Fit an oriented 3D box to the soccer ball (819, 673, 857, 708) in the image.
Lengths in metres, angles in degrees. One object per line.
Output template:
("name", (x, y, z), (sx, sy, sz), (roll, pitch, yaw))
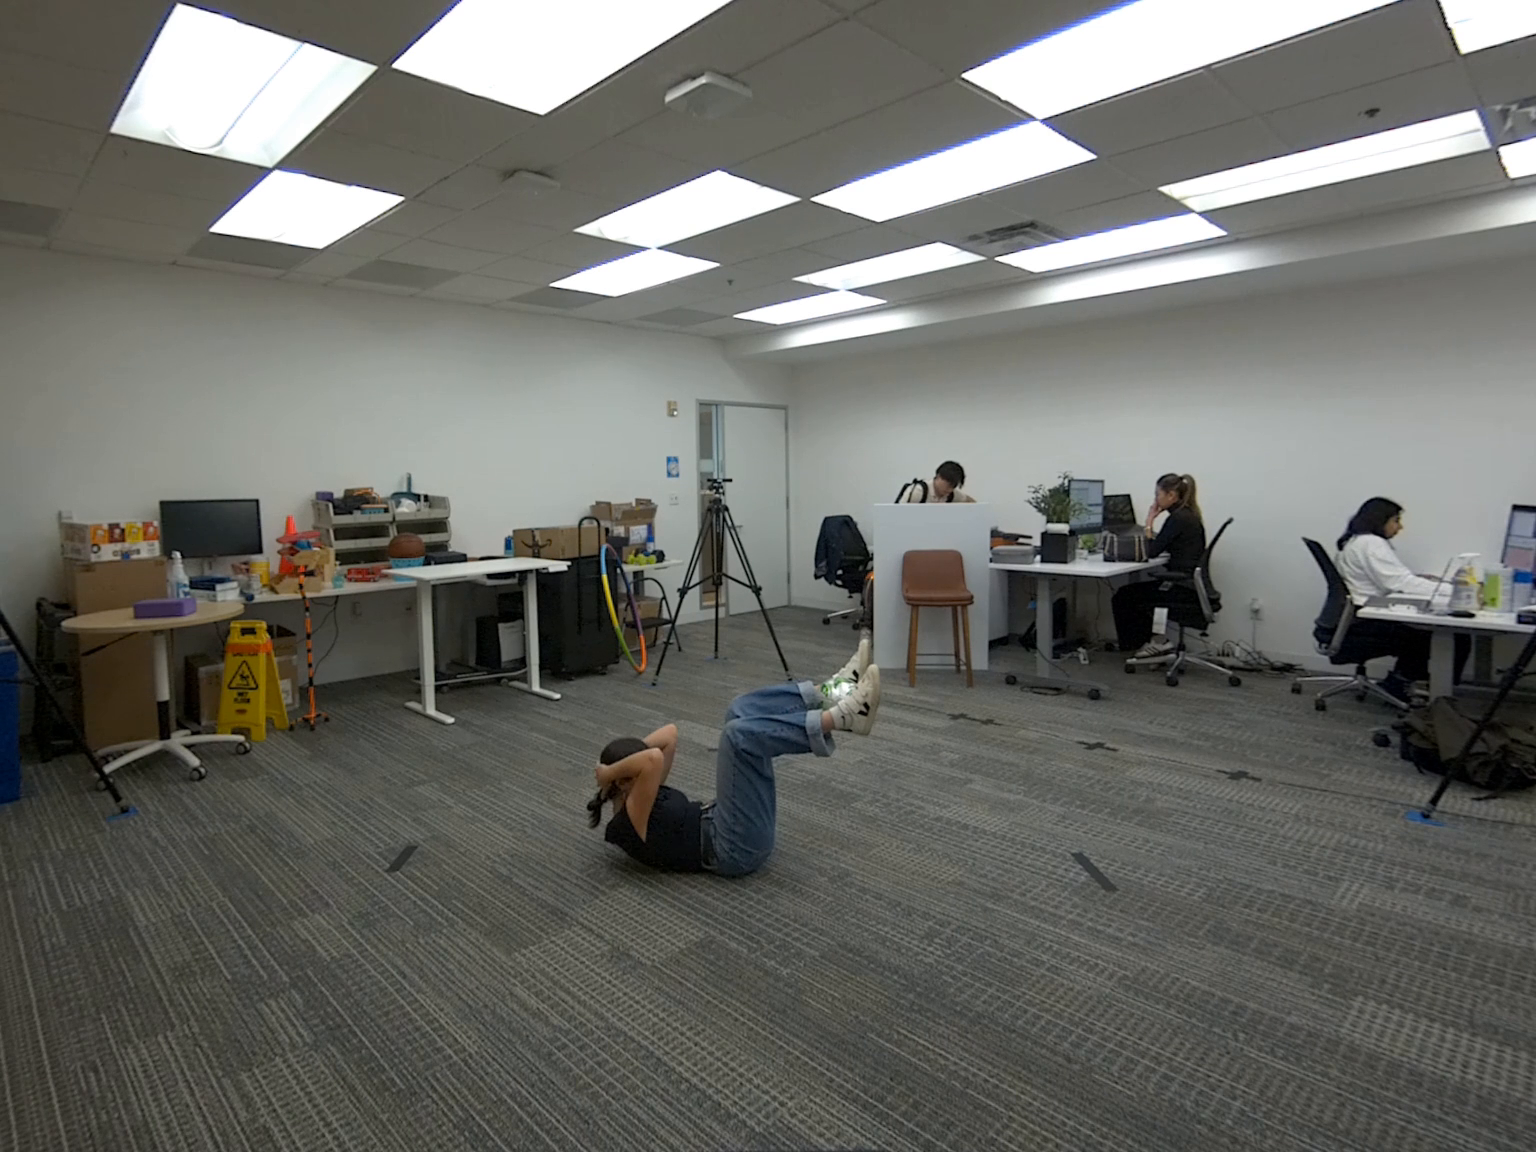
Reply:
("soccer ball", (0.267, 0.463, 3.038), (0.187, 0.187, 0.188), (0, 1, -2))
